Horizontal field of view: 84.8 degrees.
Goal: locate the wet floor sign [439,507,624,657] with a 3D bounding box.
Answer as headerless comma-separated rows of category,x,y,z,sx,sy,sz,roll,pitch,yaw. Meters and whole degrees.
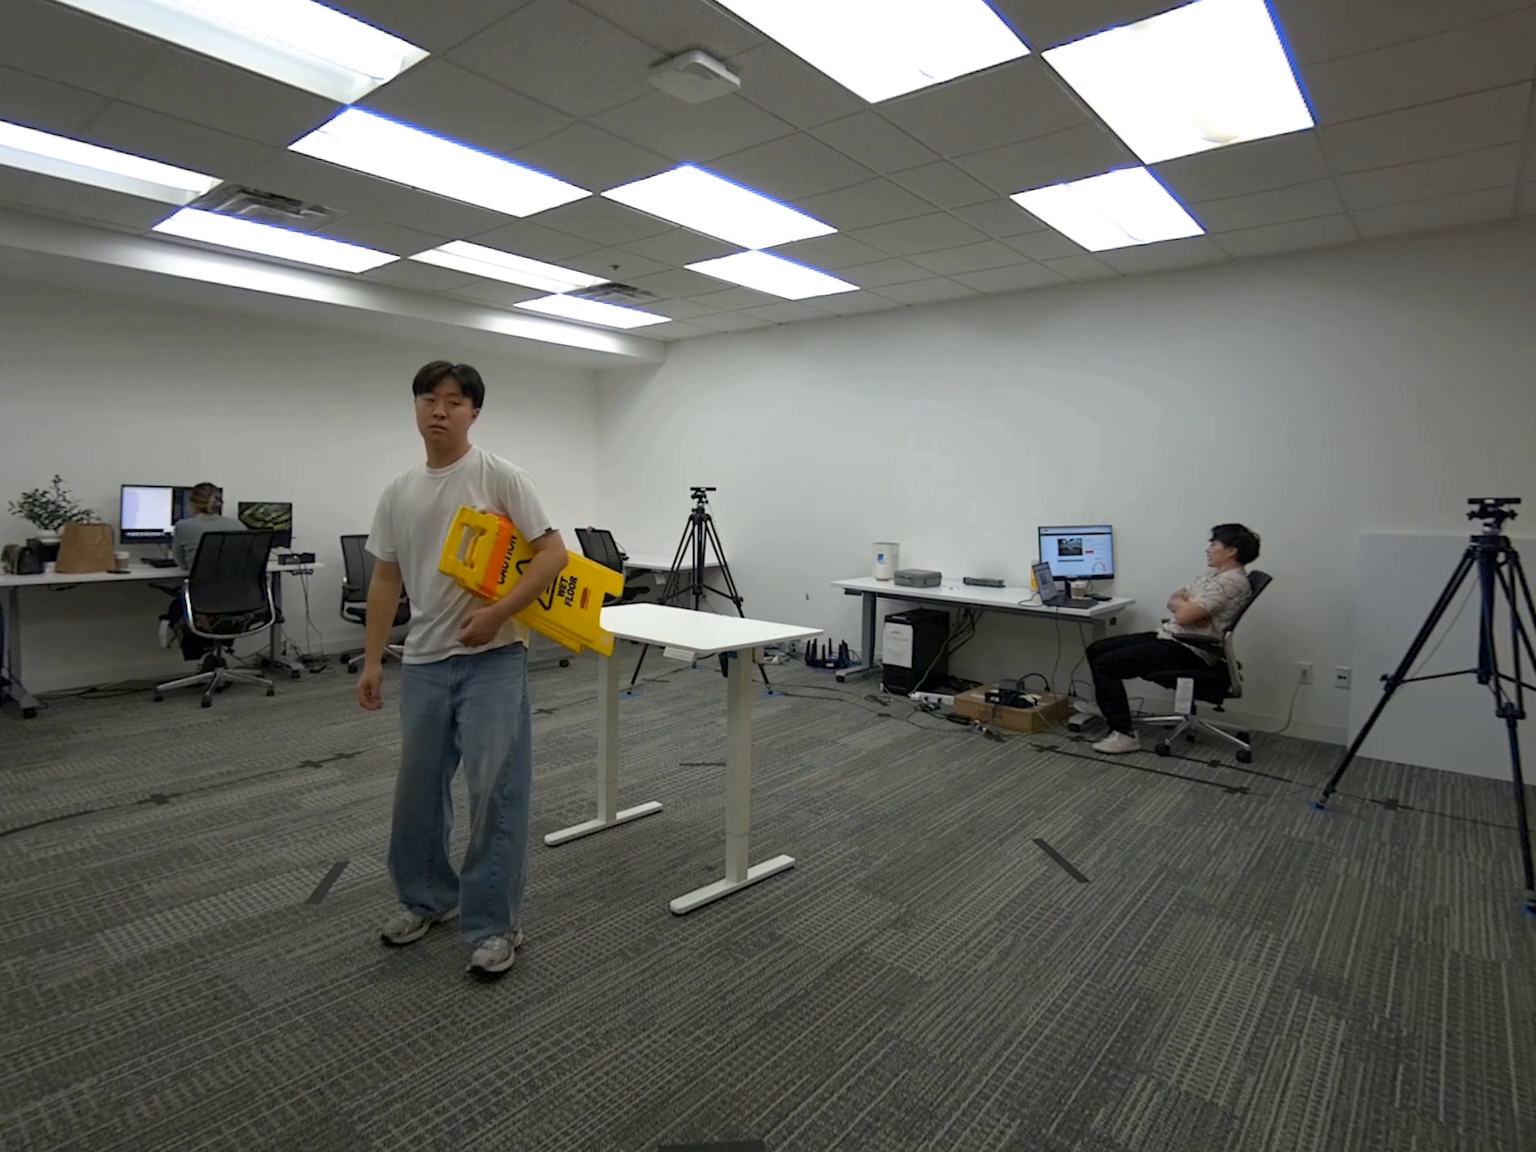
wet floor sign,-0.721,0.017,2.546,0.296,0.287,0.620,-6,-24,26
